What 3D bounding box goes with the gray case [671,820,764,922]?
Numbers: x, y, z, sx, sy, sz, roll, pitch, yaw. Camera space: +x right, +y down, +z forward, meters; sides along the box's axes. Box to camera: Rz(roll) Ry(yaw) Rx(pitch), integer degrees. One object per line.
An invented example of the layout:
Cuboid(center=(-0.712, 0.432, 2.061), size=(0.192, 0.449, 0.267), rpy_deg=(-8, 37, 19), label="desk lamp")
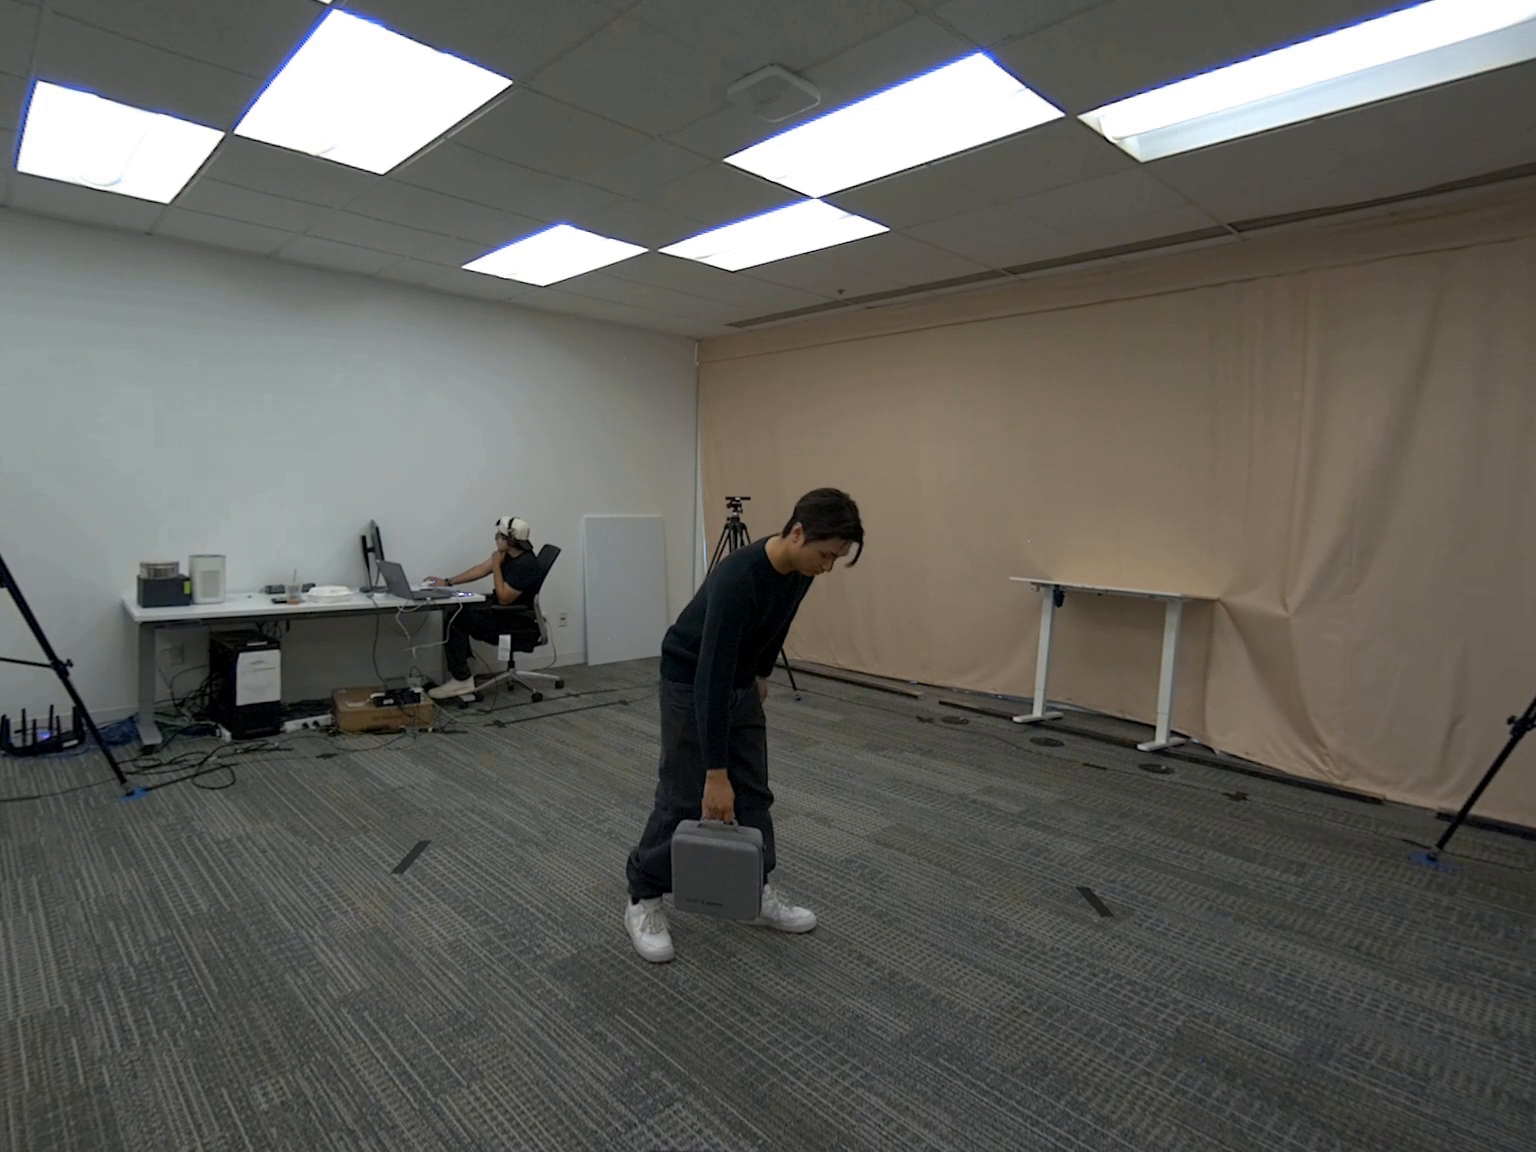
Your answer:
Cuboid(center=(-0.152, 0.830, 2.371), size=(0.259, 0.258, 0.104), rpy_deg=(3, 15, 12), label="gray case")
